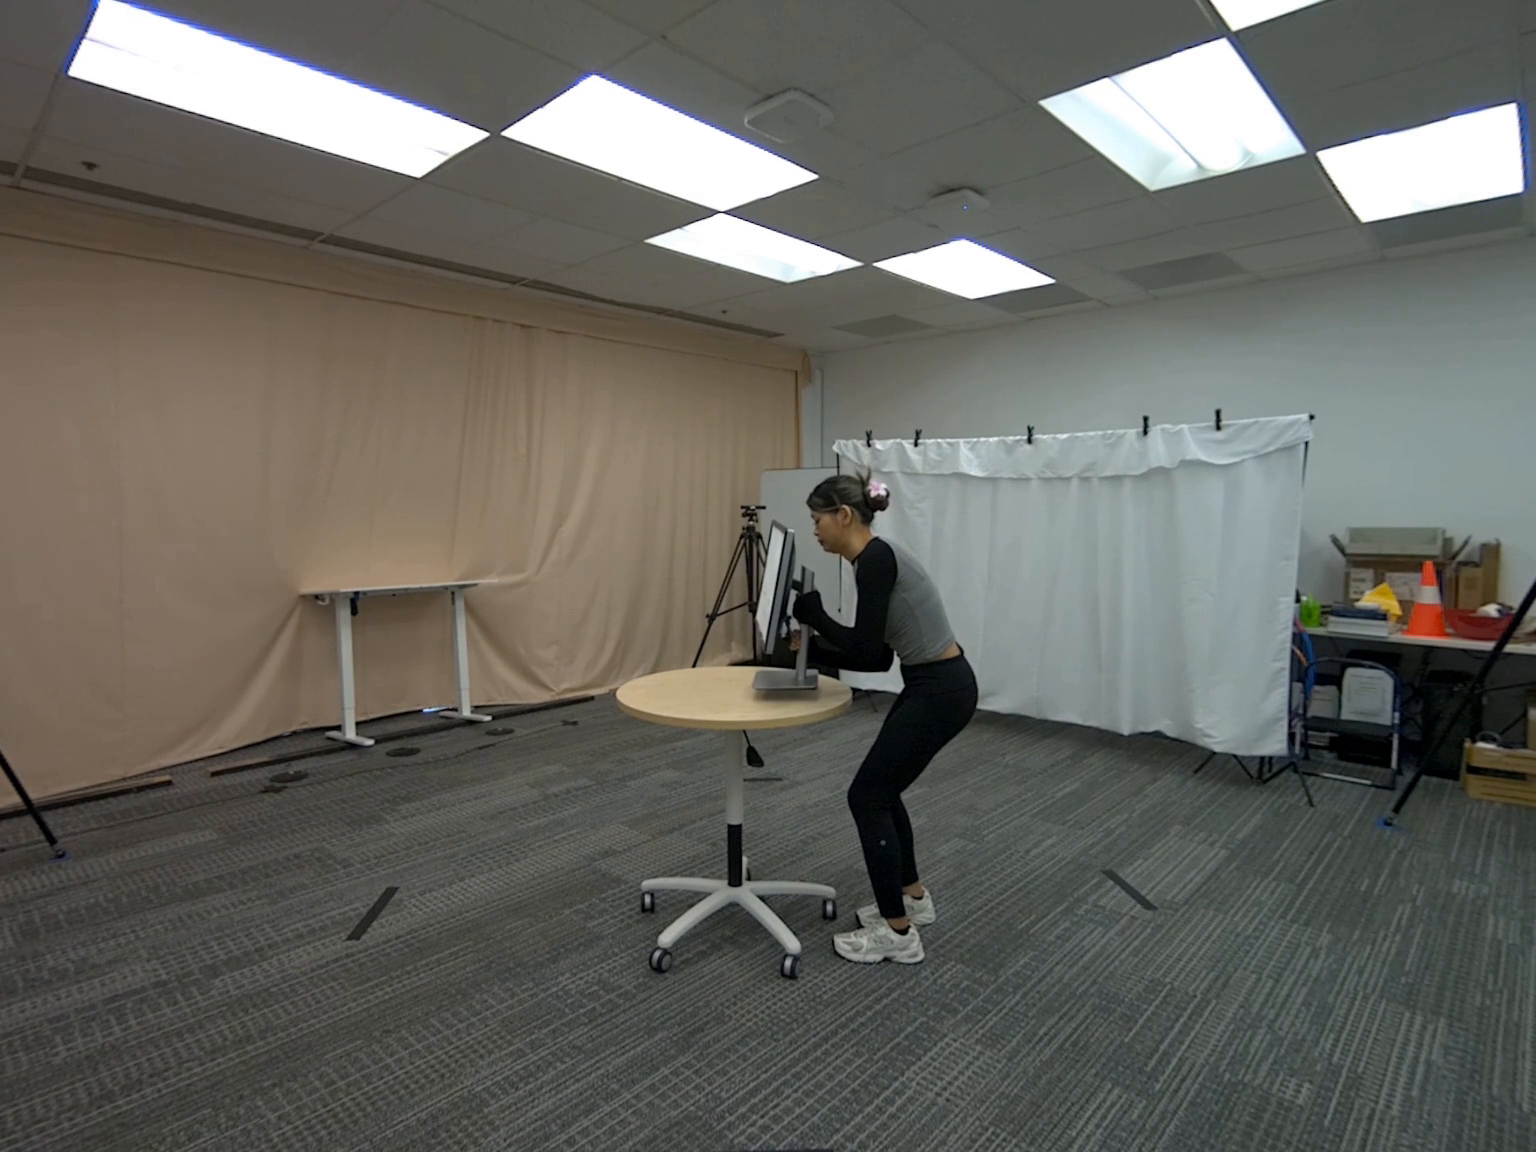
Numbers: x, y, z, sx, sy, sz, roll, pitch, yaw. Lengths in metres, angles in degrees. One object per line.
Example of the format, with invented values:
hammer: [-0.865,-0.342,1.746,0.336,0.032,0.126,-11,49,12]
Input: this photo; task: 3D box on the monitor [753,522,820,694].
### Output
monitor: [0.062,0.099,2.690,0.187,0.520,0.542,-3,6,-4]
